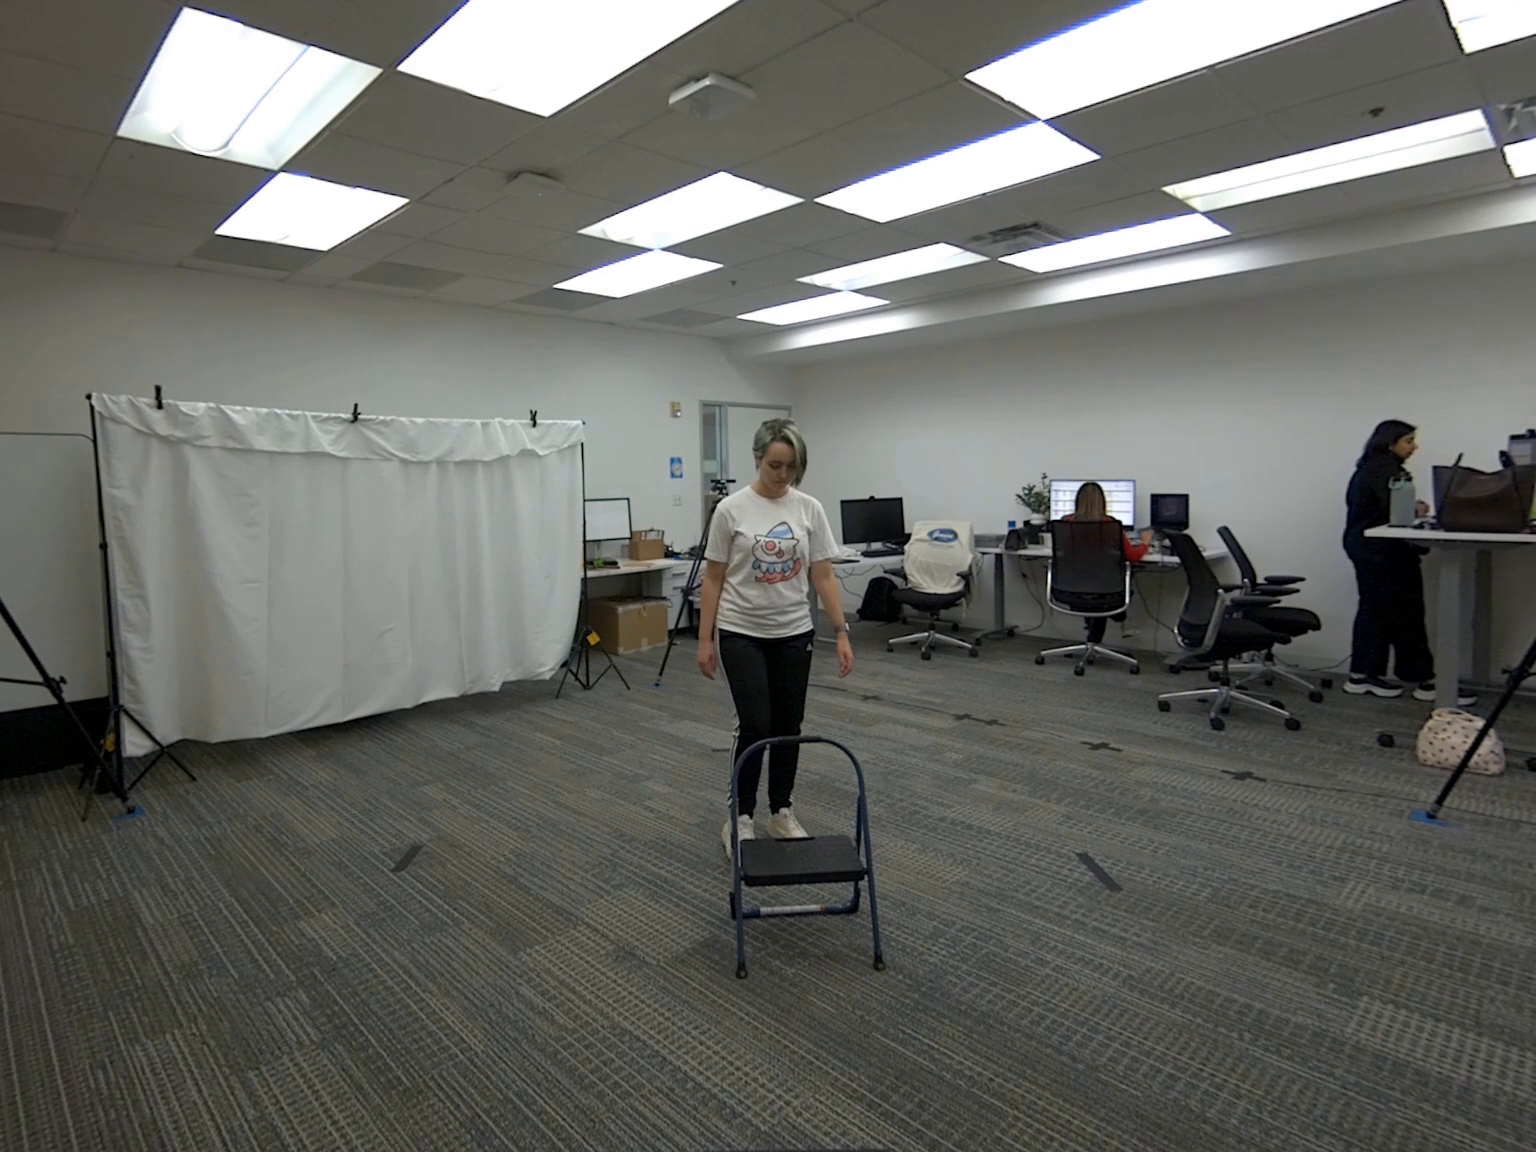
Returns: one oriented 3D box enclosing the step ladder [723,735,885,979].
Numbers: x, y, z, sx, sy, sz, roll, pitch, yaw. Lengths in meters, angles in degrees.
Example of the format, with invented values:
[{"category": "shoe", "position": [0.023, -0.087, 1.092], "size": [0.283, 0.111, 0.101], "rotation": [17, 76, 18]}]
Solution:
[{"category": "step ladder", "position": [0.101, 0.810, 2.567], "size": [0.428, 0.604, 0.352], "rotation": [-2, 4, -6]}]
